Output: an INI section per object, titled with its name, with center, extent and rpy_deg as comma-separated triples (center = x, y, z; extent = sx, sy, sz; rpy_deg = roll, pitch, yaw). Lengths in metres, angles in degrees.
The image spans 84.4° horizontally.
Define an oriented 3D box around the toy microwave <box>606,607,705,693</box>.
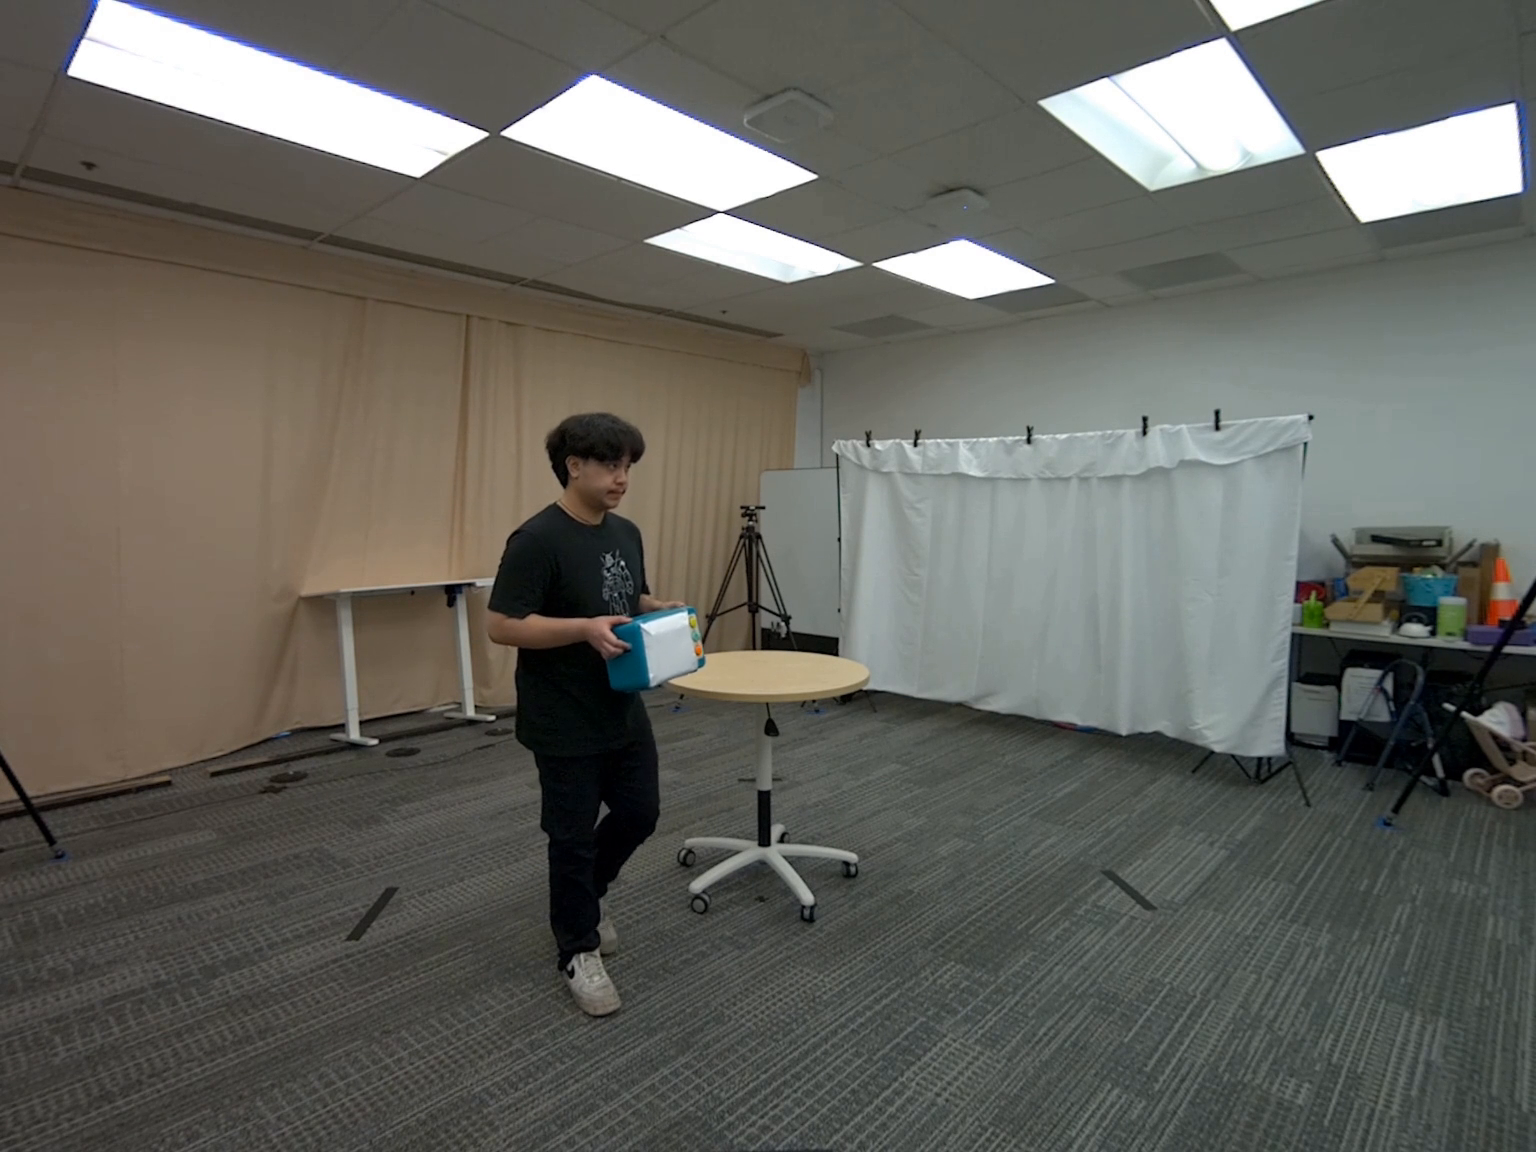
[toy microwave]
center = -0.304, 0.193, 2.273
extent = 0.156, 0.184, 0.279
rpy_deg = -9, 2, 32
